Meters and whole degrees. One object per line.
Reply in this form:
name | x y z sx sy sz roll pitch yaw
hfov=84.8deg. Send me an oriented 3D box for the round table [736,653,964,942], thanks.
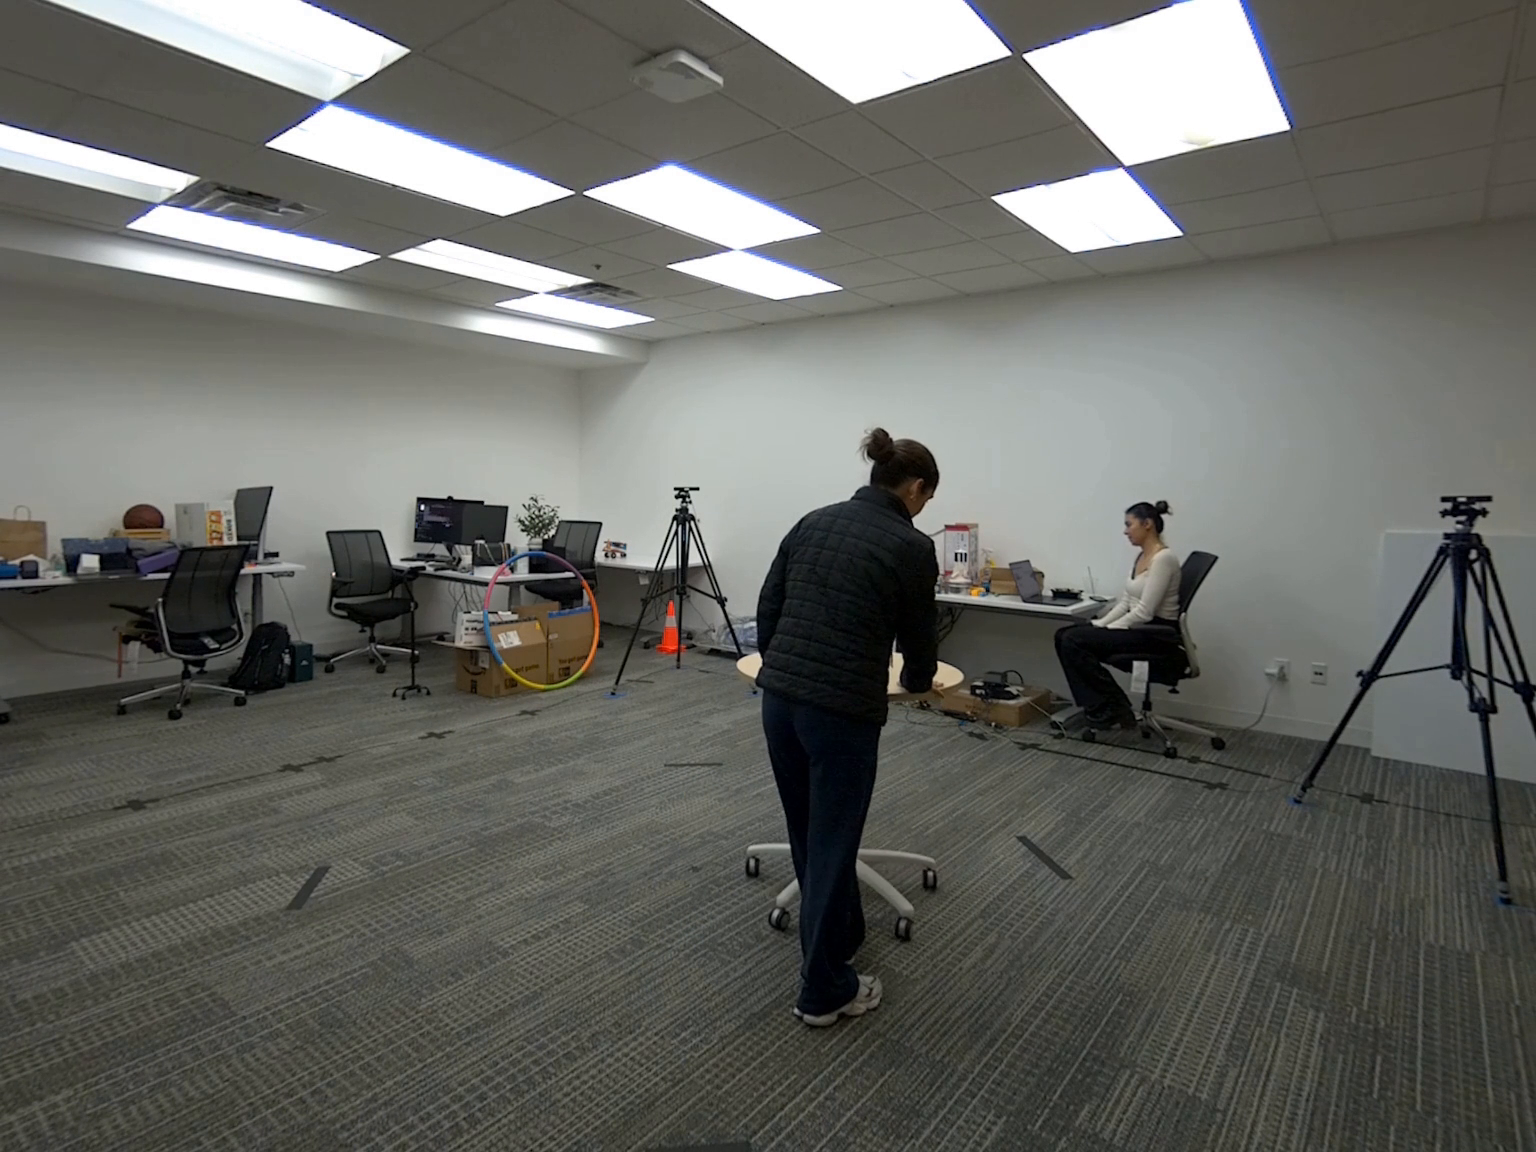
round table | 0.290 0.696 2.935 0.784 0.784 0.789 1 4 -2
